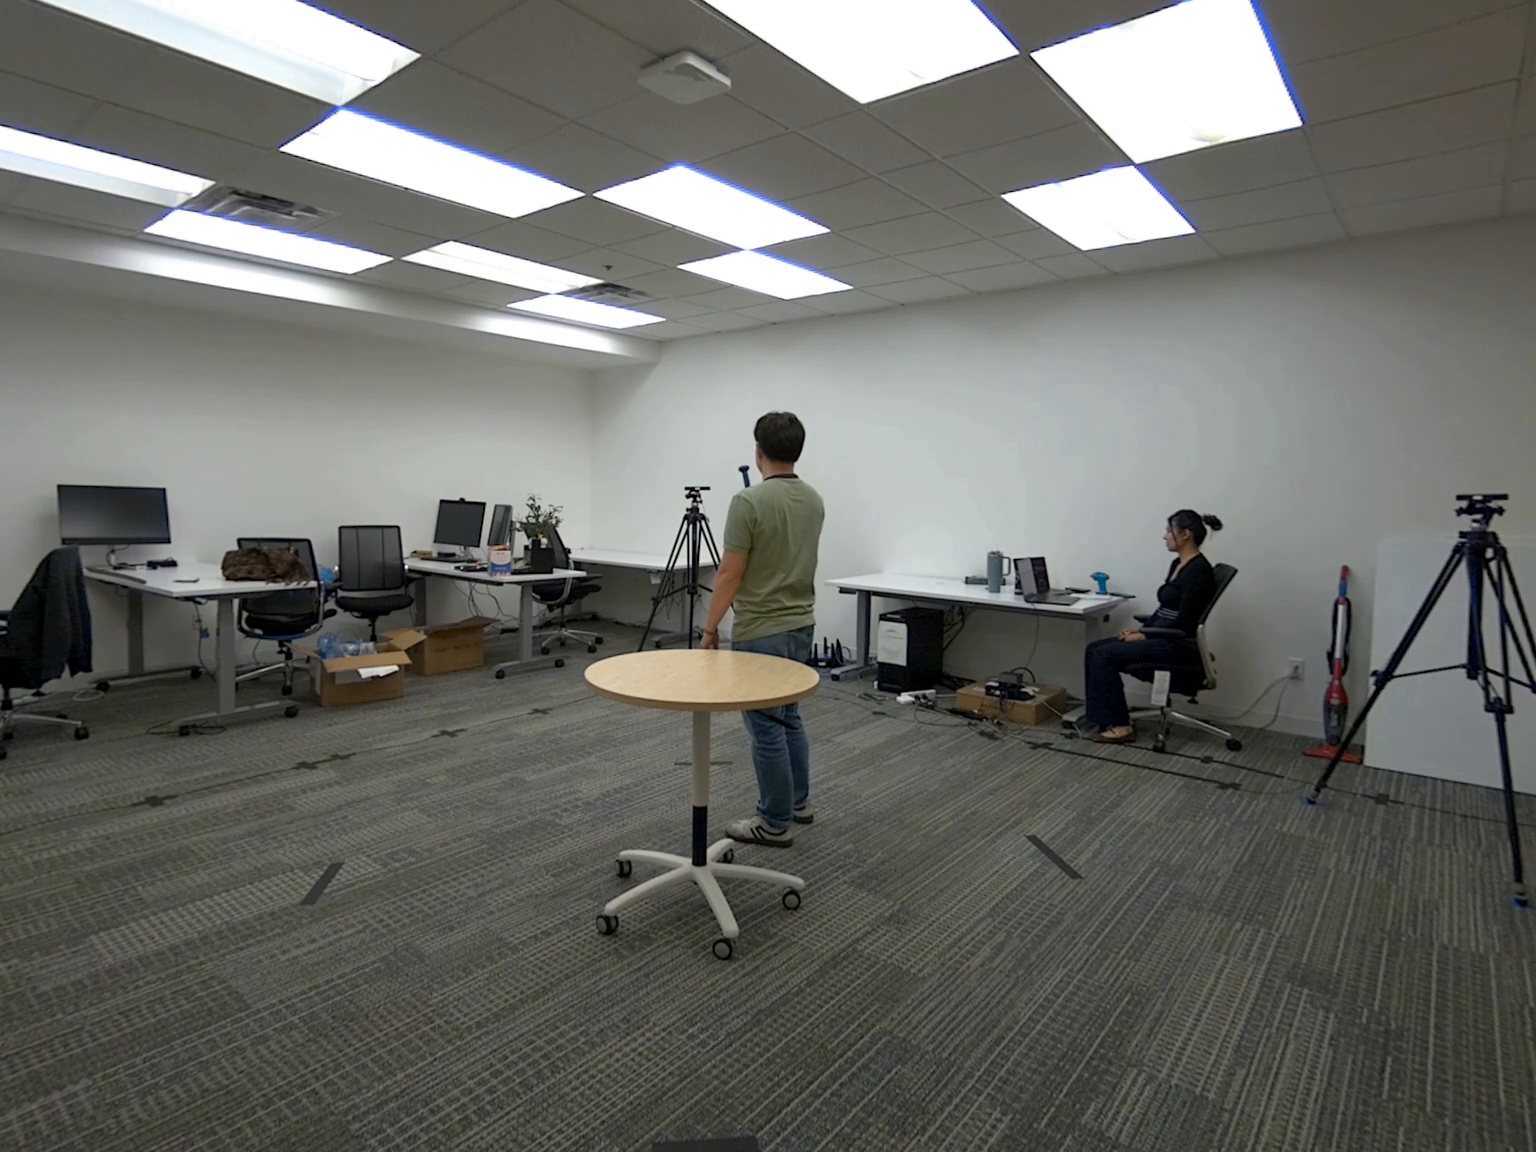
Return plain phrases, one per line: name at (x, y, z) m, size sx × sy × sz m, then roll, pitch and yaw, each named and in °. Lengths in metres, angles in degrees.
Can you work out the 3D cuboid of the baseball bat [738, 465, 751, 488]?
baseball bat at (-0.076, -0.241, 3.854) m, size 0.089 × 0.548 × 0.088 m, roll -11°, pitch -8°, yaw -3°
